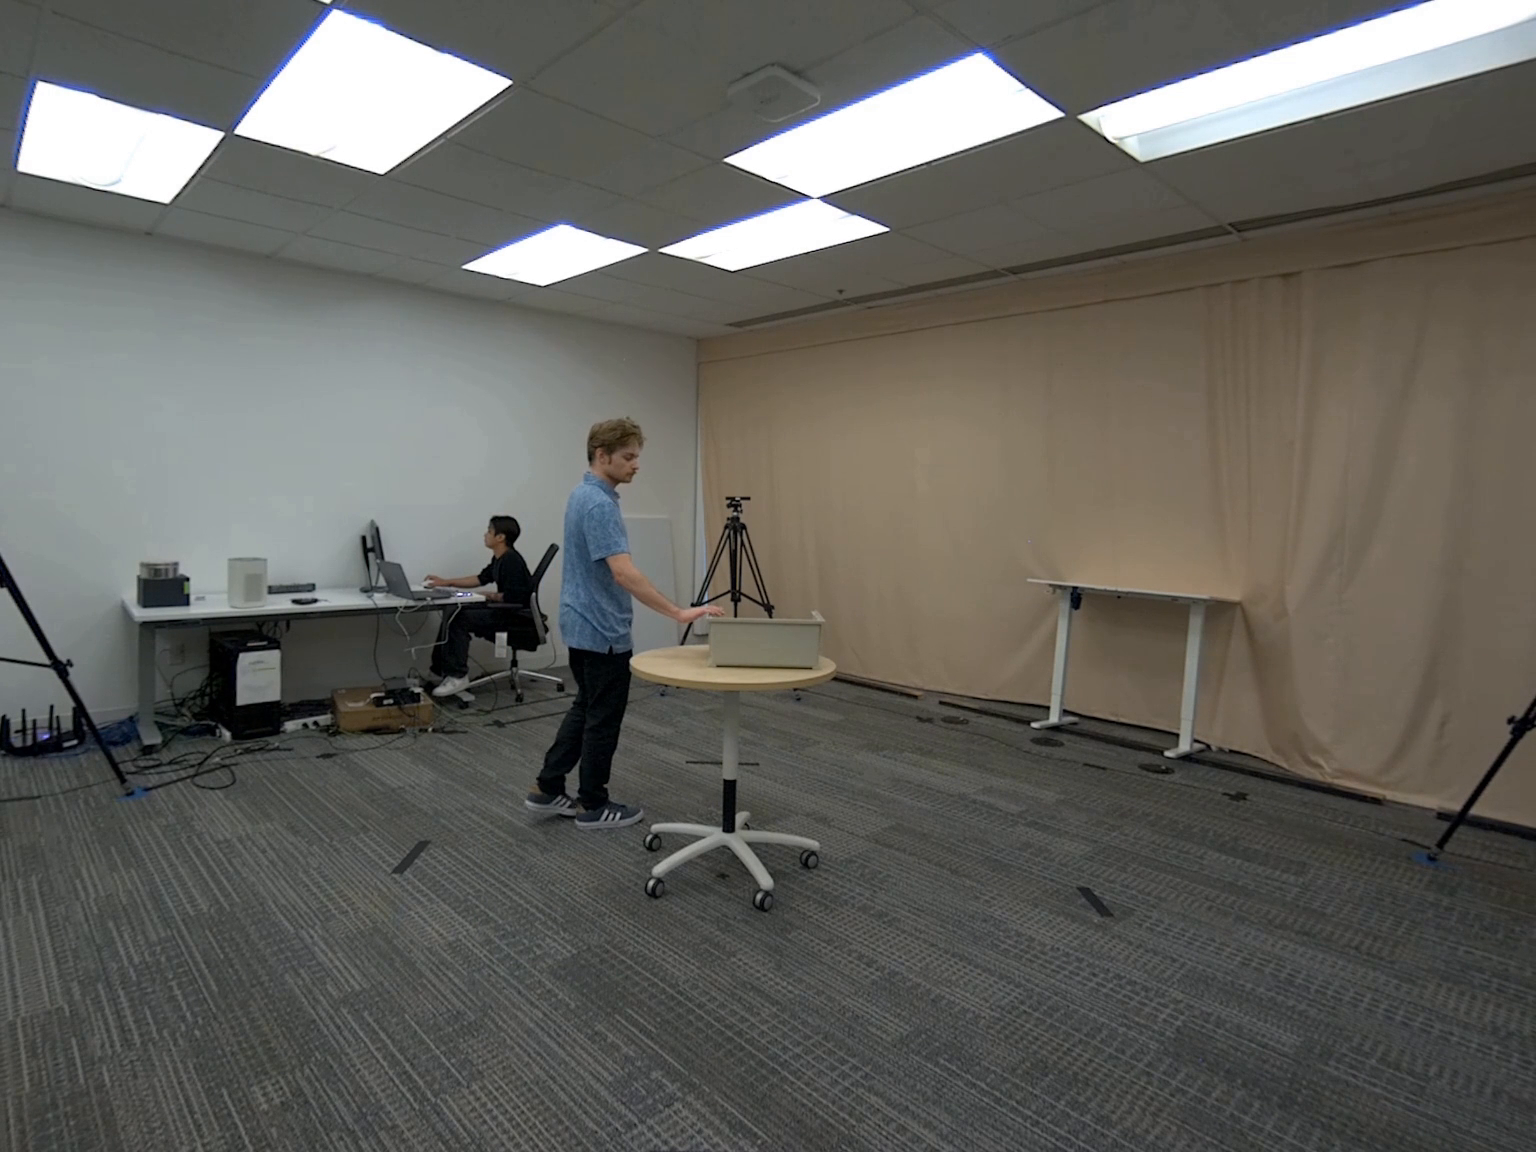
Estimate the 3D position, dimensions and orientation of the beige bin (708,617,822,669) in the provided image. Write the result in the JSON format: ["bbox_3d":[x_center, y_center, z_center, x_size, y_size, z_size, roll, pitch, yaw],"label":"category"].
[{"bbox_3d":[-0.027,0.232,3.188,0.422,0.188,0.379,1,5,-2],"label":"beige bin"}]
